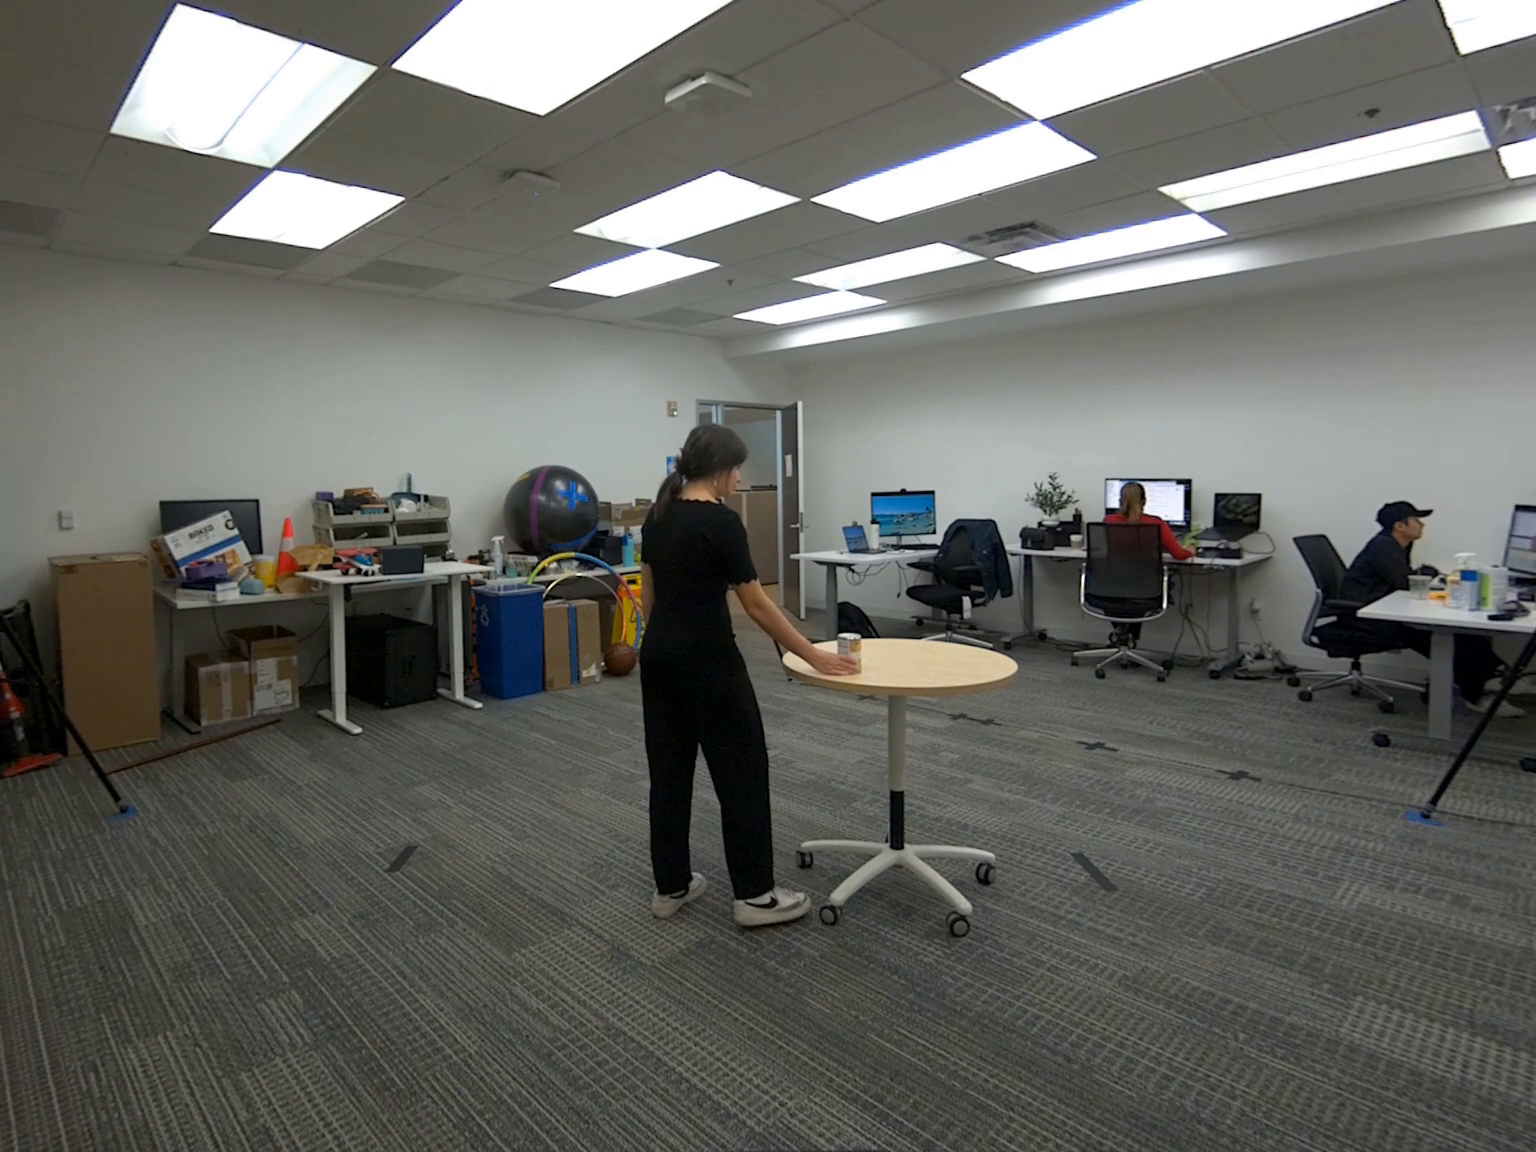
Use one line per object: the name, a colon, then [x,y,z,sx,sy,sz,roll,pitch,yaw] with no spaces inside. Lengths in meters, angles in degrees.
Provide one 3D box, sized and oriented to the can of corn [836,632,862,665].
can of corn: [0.258,0.245,2.690,0.074,0.110,0.075,-2,7,-1]
